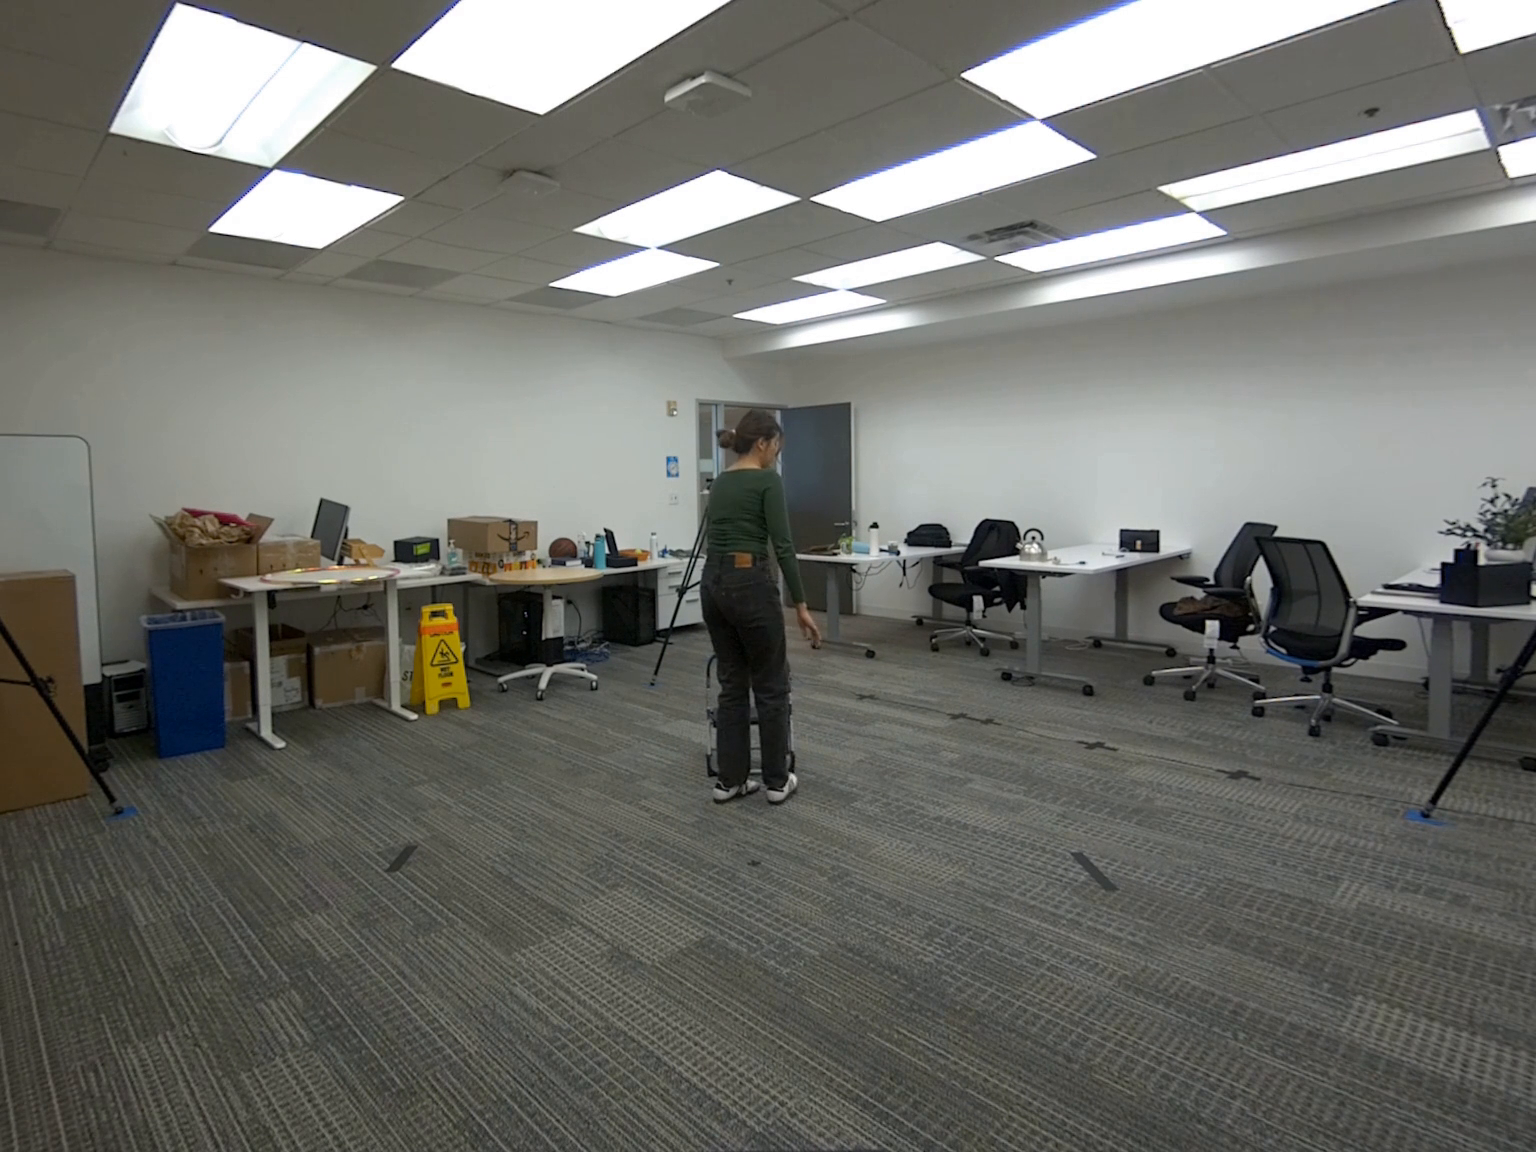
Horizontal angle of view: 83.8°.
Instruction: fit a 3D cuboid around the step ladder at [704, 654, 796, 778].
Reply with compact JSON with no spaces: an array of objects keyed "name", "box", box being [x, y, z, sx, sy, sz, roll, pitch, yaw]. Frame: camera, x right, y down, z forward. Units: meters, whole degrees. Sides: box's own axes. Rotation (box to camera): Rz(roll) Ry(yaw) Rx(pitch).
[{"name":"step ladder","box":[-0.097,0.625,4.178,0.430,0.604,0.351,-2,4,-3]}]
